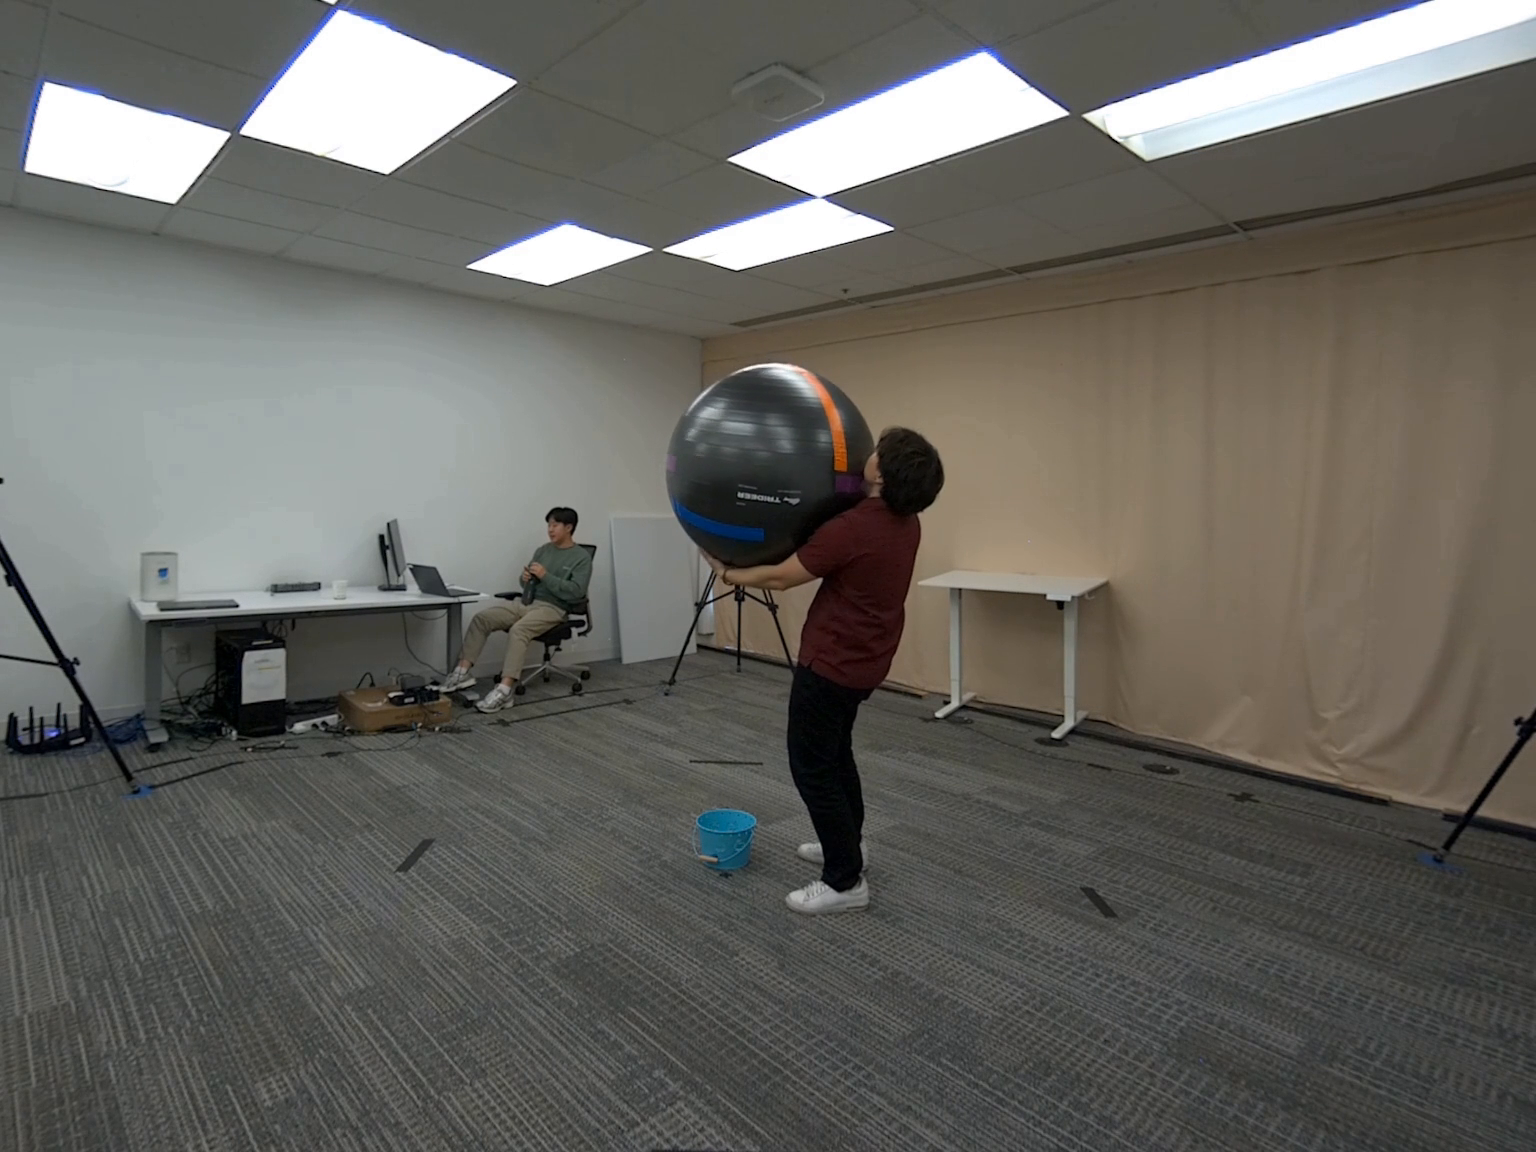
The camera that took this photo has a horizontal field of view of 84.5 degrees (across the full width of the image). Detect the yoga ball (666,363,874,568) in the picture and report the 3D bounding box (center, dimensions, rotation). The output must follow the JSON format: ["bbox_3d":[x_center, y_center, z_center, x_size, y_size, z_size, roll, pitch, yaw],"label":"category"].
[{"bbox_3d":[0.003,-0.378,3.023,0.757,0.756,0.761,1,4,-1],"label":"yoga ball"}]
